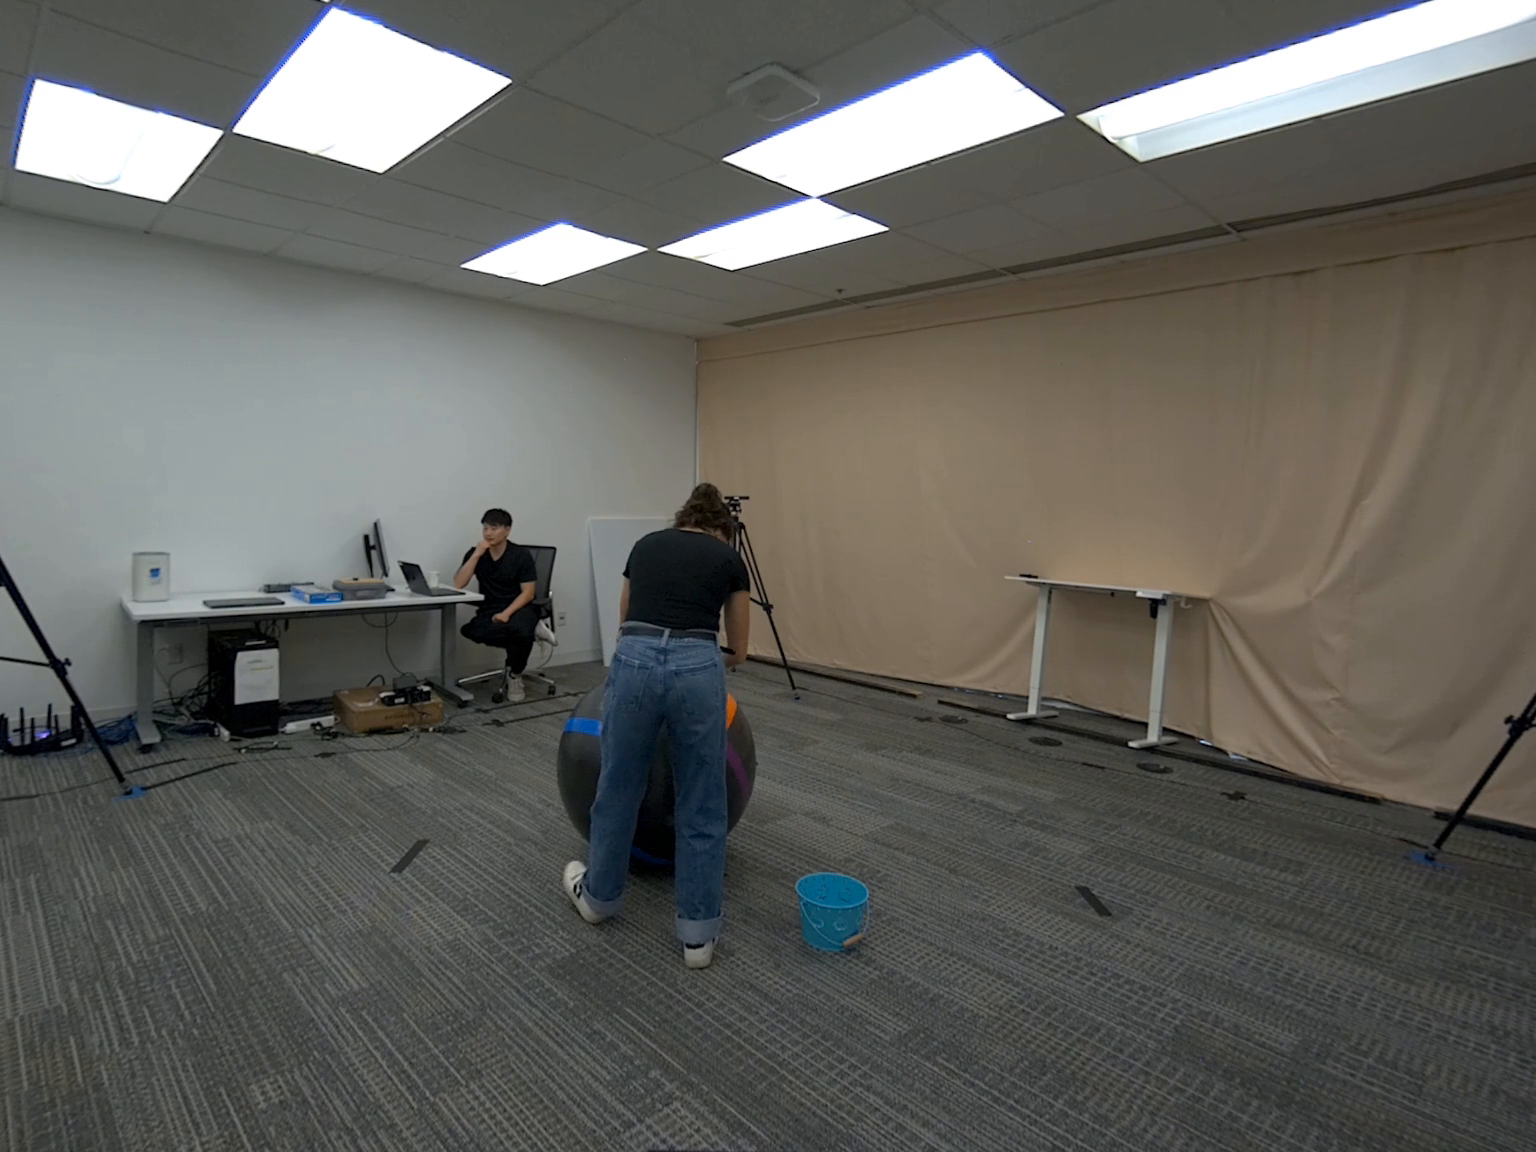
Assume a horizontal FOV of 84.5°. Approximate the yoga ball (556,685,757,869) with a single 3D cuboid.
[{"bbox_3d":[-0.428,0.719,3.222,0.757,0.756,0.761,1,4,-1],"label":"yoga ball"}]
